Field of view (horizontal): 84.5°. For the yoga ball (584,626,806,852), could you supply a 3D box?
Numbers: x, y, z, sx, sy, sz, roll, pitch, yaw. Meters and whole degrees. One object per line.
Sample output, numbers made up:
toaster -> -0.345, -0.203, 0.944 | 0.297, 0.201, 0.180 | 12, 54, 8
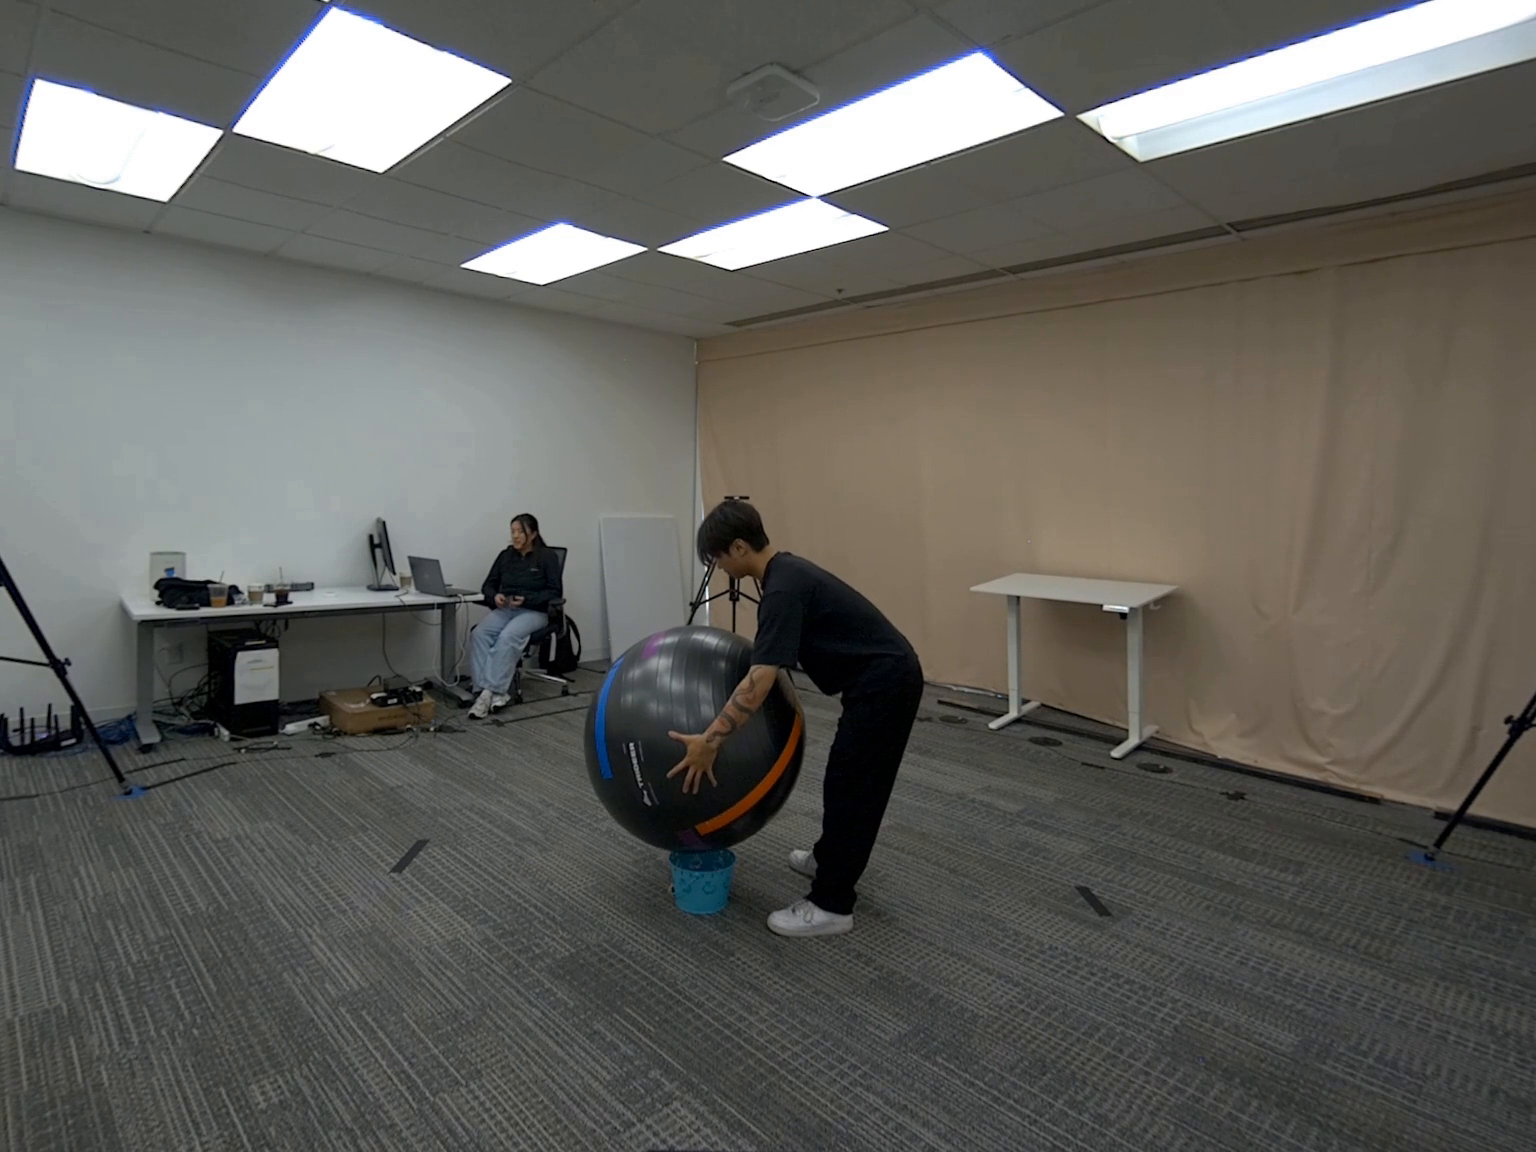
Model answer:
yoga ball -> -0.256, 0.556, 2.913 | 0.757, 0.756, 0.761 | 1, 4, -1
